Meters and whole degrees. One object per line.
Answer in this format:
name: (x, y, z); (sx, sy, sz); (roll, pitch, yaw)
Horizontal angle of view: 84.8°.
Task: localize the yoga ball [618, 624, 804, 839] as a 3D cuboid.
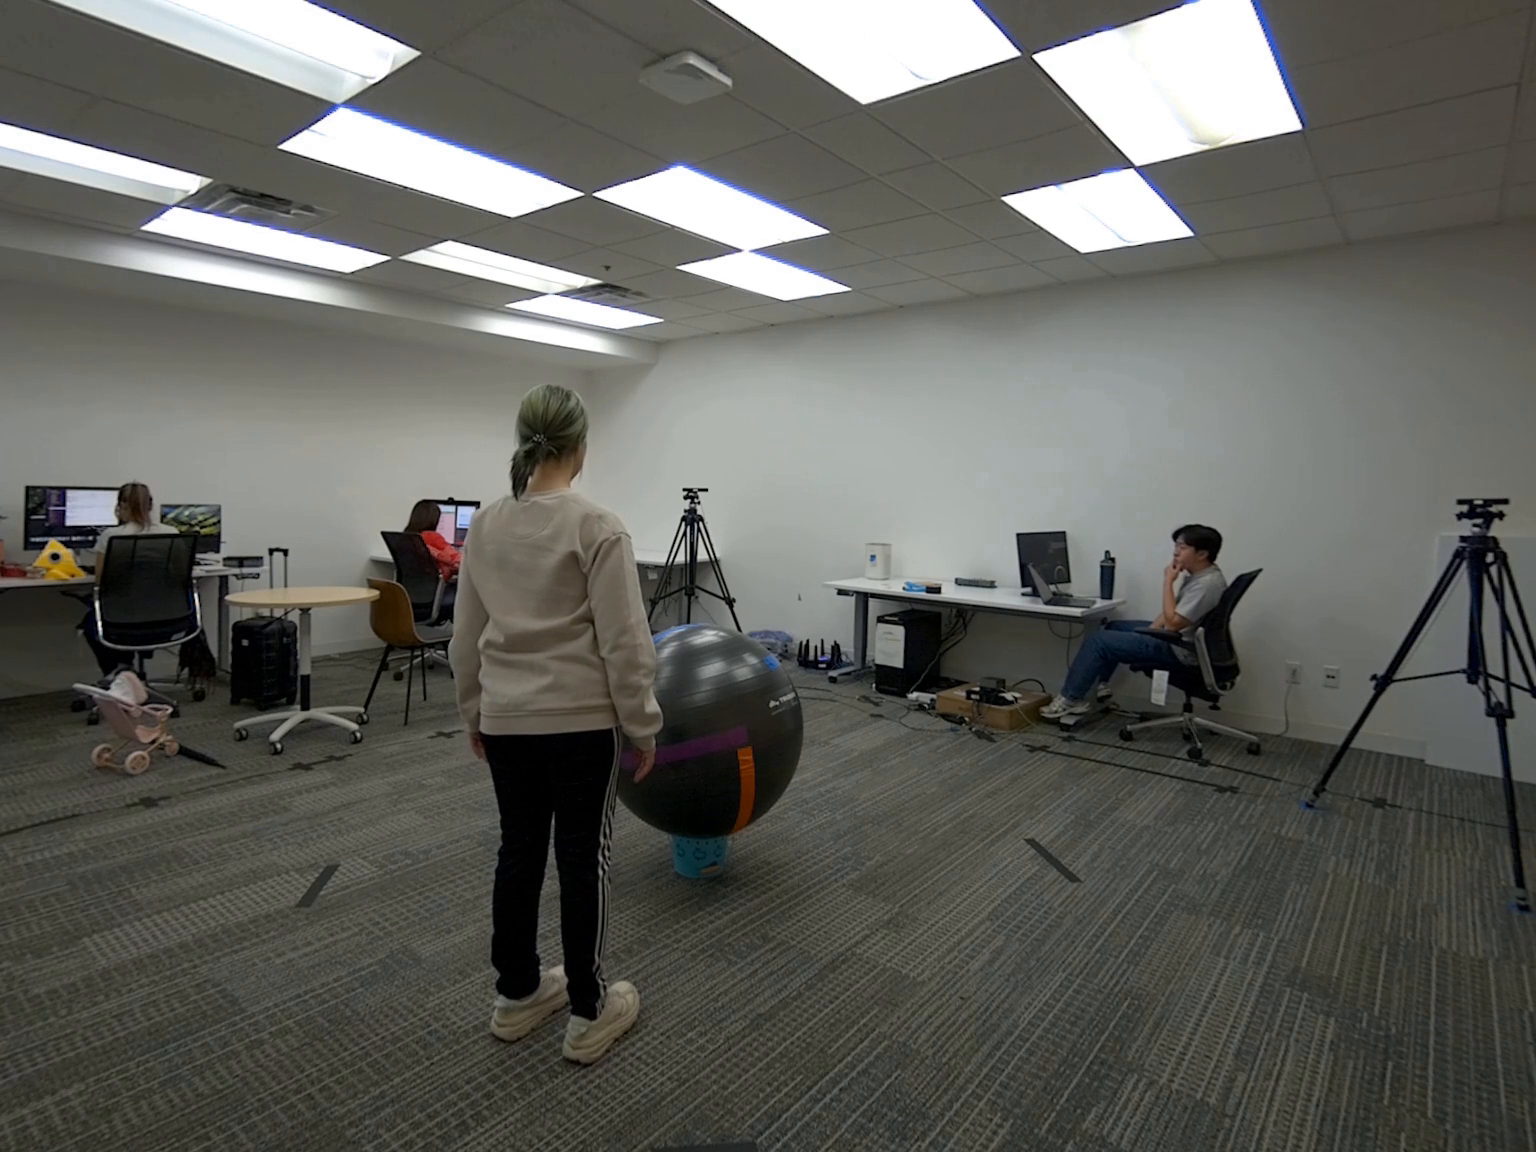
yoga ball: (-0.258, 0.556, 3.110); (0.757, 0.755, 0.762); (1, 4, -2)
